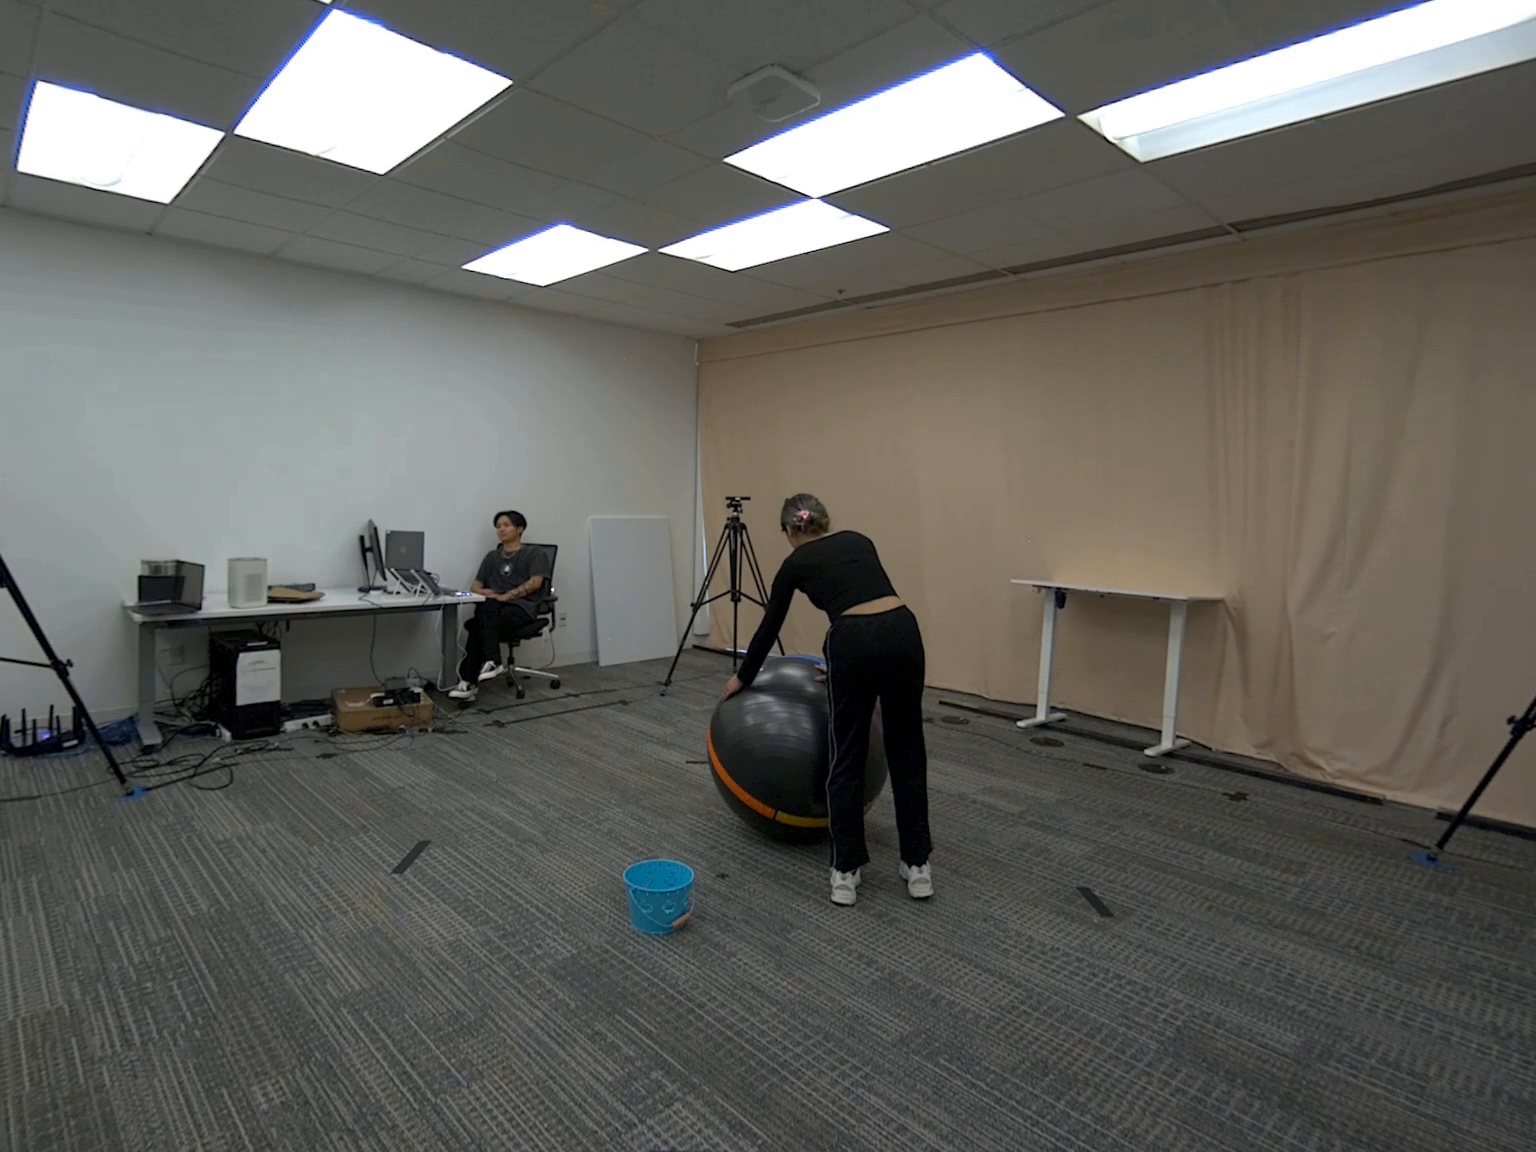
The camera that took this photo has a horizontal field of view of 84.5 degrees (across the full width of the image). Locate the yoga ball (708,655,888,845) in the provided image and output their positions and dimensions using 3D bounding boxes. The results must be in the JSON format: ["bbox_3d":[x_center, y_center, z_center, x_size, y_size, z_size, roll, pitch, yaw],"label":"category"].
[{"bbox_3d":[0.125,0.708,3.517,0.757,0.756,0.761,1,4,-1],"label":"yoga ball"}]
